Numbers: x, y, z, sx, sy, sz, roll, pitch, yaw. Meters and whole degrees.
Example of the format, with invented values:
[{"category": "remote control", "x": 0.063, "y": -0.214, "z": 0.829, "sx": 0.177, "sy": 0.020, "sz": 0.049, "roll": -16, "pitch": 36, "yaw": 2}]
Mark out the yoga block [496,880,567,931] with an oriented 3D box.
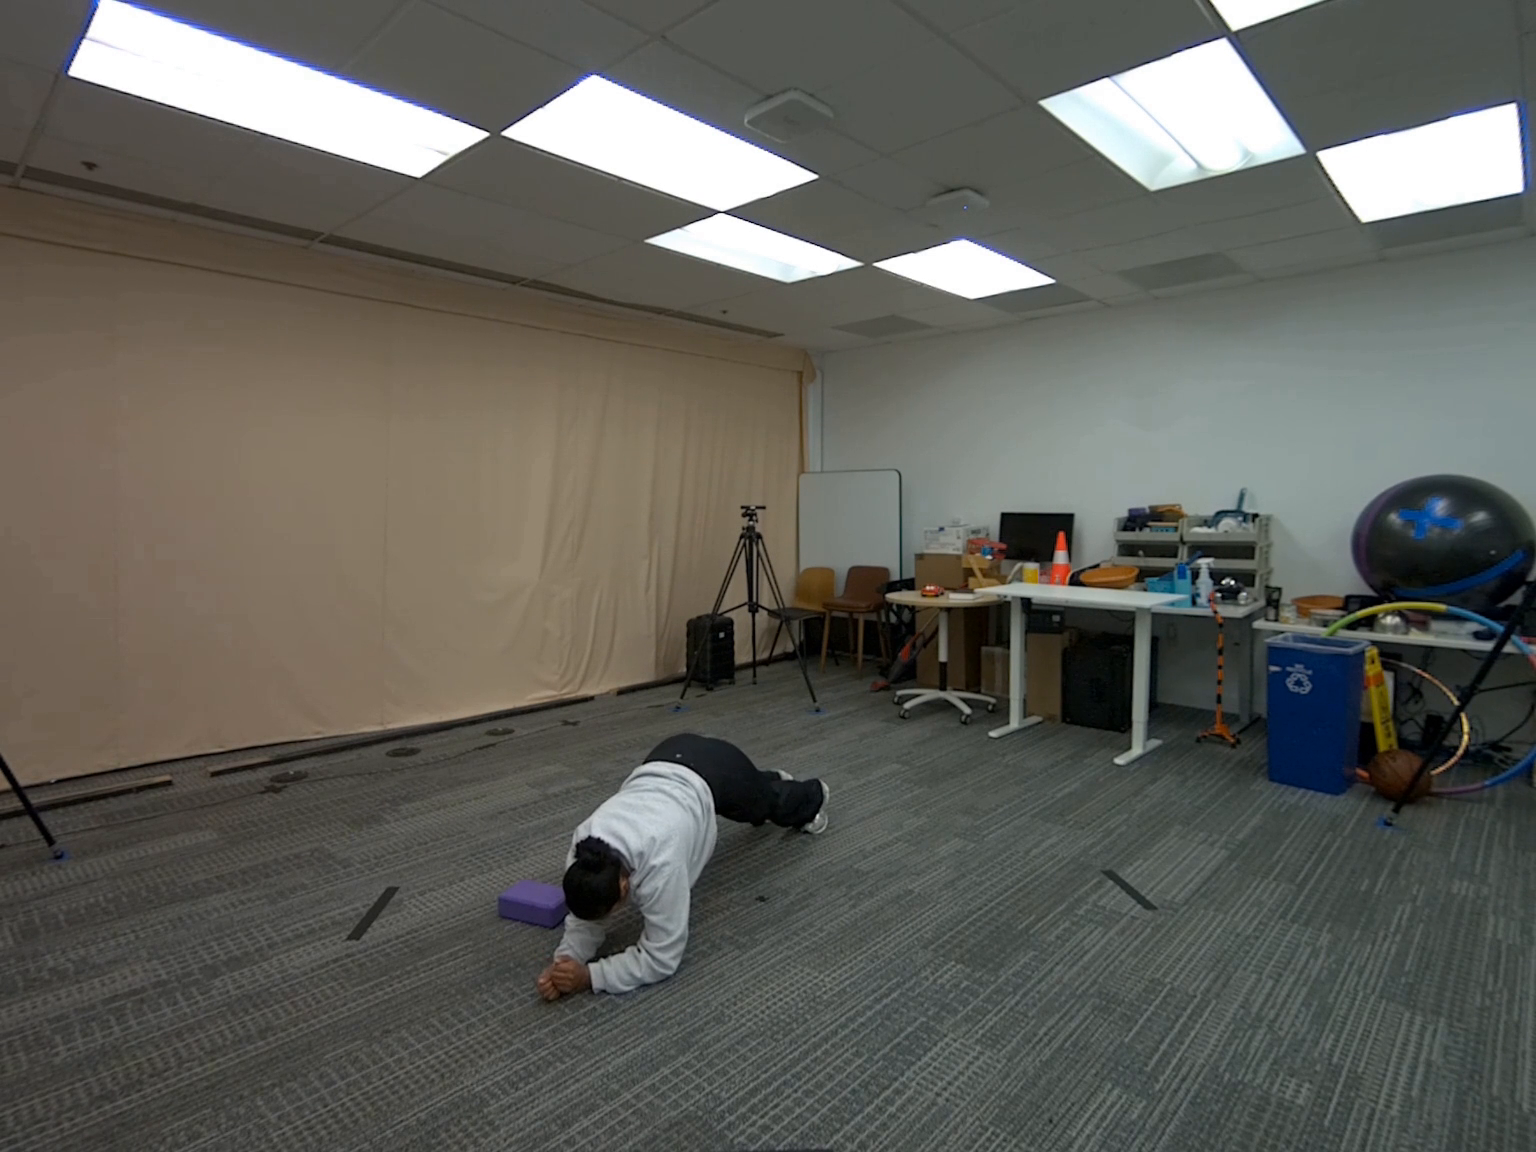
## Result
[{"category": "yoga block", "x": -0.794, "y": 1.124, "z": 2.878, "sx": 0.235, "sy": 0.076, "sz": 0.146, "roll": 2, "pitch": 6, "yaw": 23}]
